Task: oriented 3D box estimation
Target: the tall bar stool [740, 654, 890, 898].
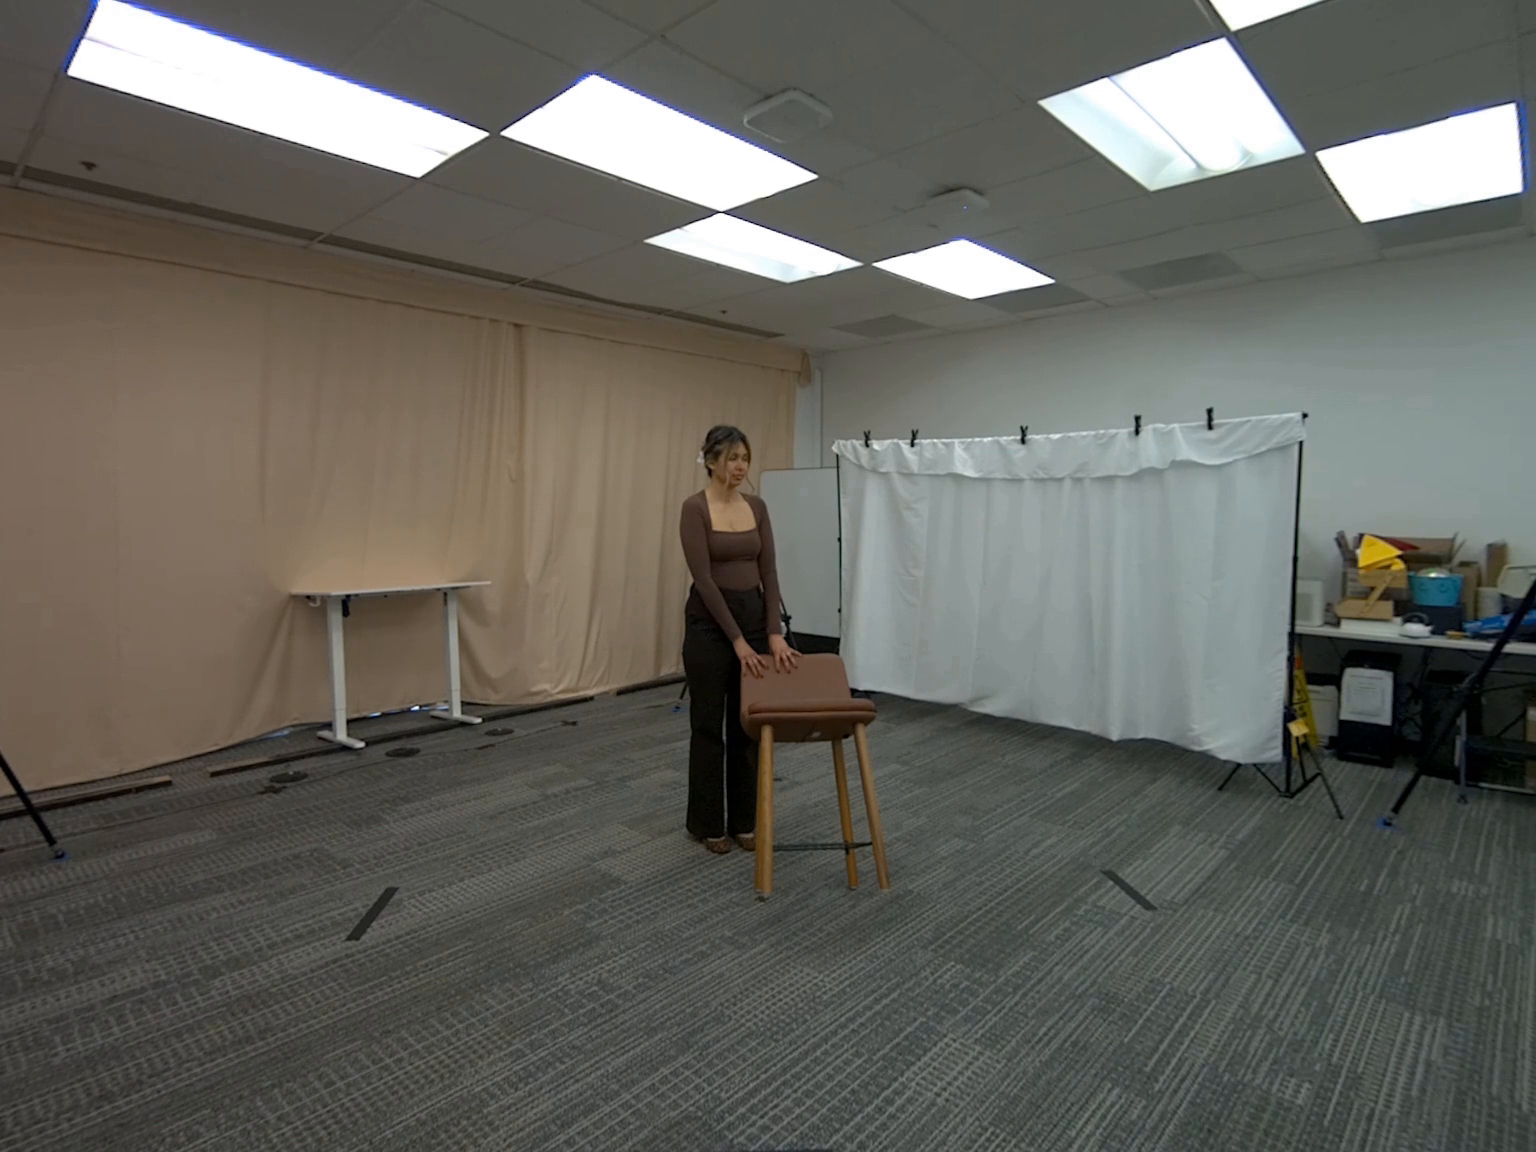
[{"bbox_3d":[0.147,0.658,3.016,0.455,0.902,0.463,-1,-22,-4],"label":"tall bar stool"}]
